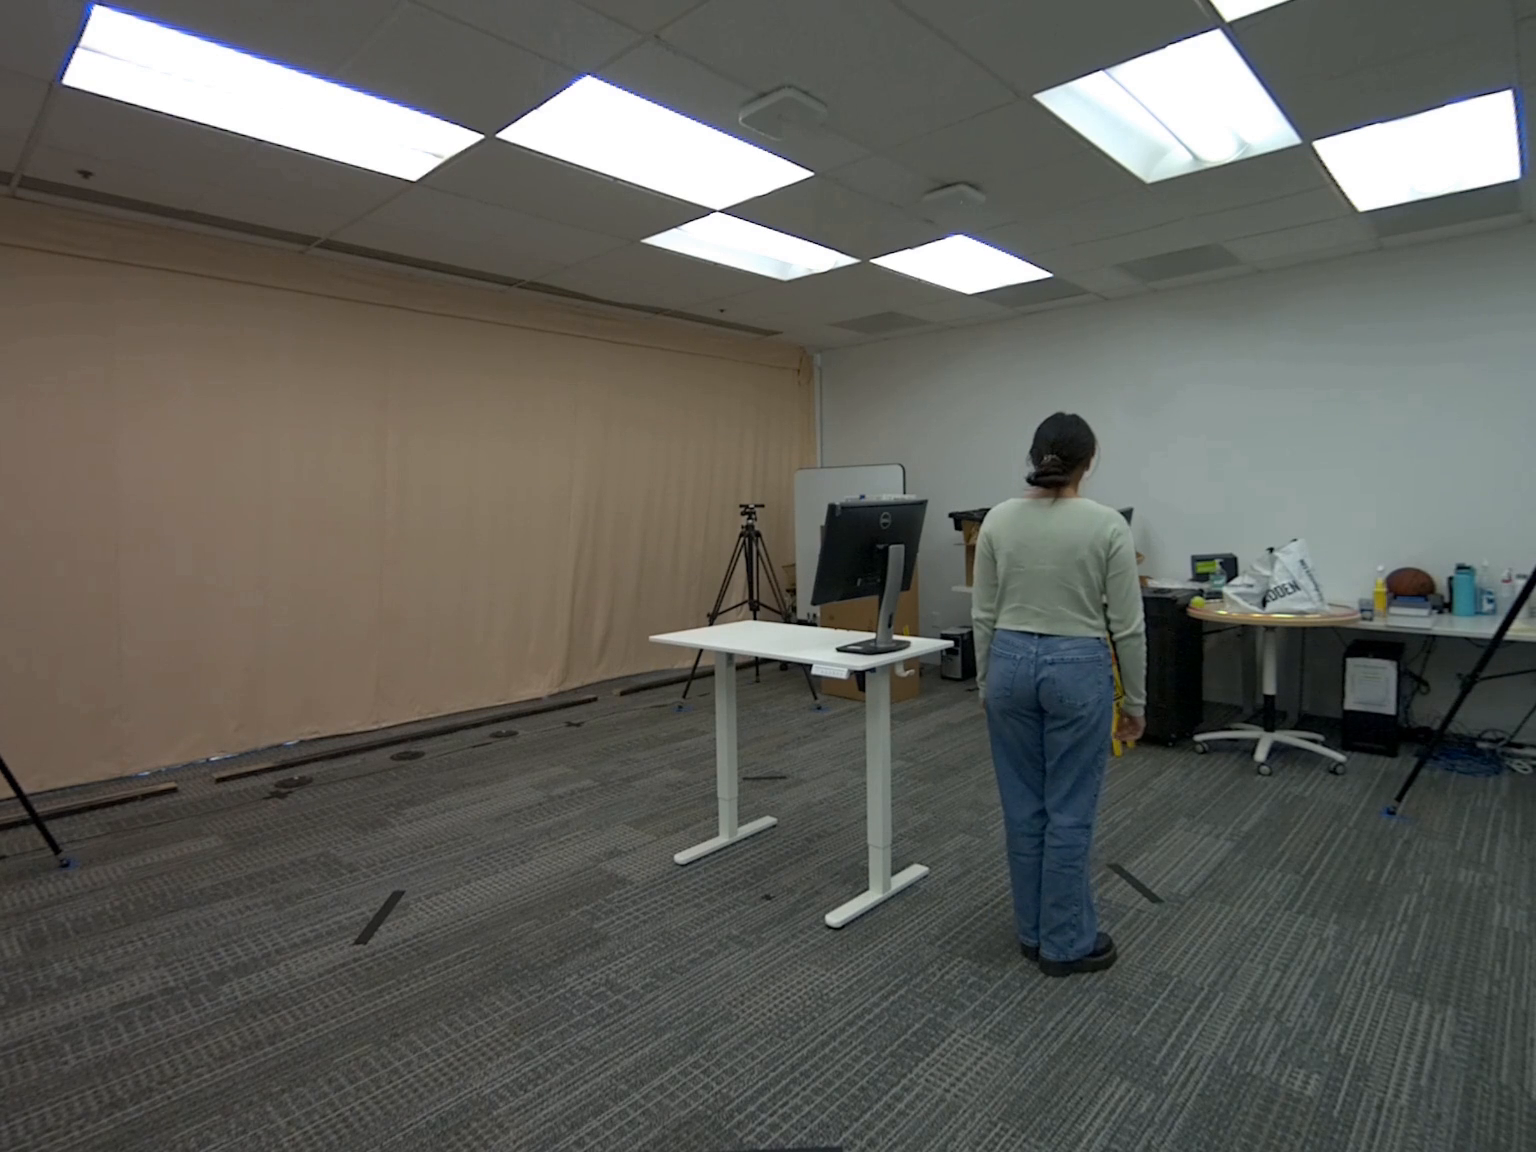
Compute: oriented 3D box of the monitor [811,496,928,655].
[{"bbox_3d":[0.396,0.002,2.915,0.193,0.521,0.523,4,7,43],"label":"monitor"}]
